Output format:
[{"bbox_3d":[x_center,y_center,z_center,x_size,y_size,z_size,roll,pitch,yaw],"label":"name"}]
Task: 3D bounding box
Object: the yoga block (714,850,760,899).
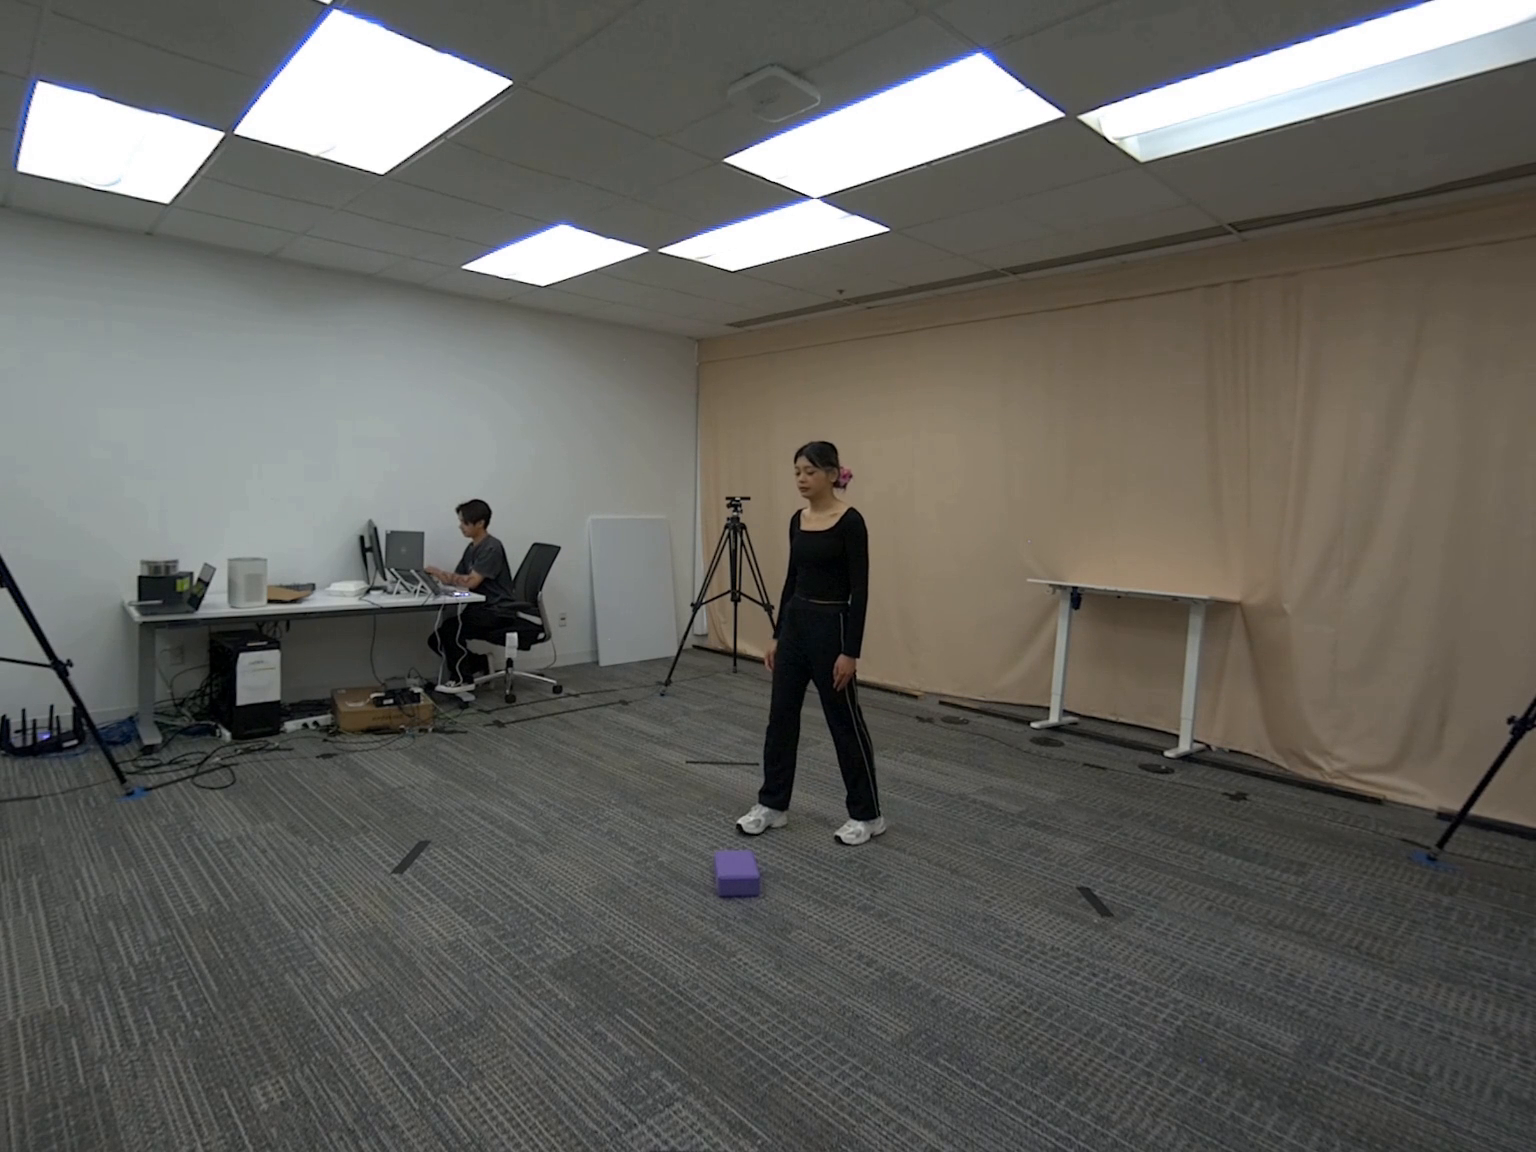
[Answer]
[{"bbox_3d":[-0.123,1.073,3.041,0.148,0.076,0.231,0,4,-6],"label":"yoga block"}]
